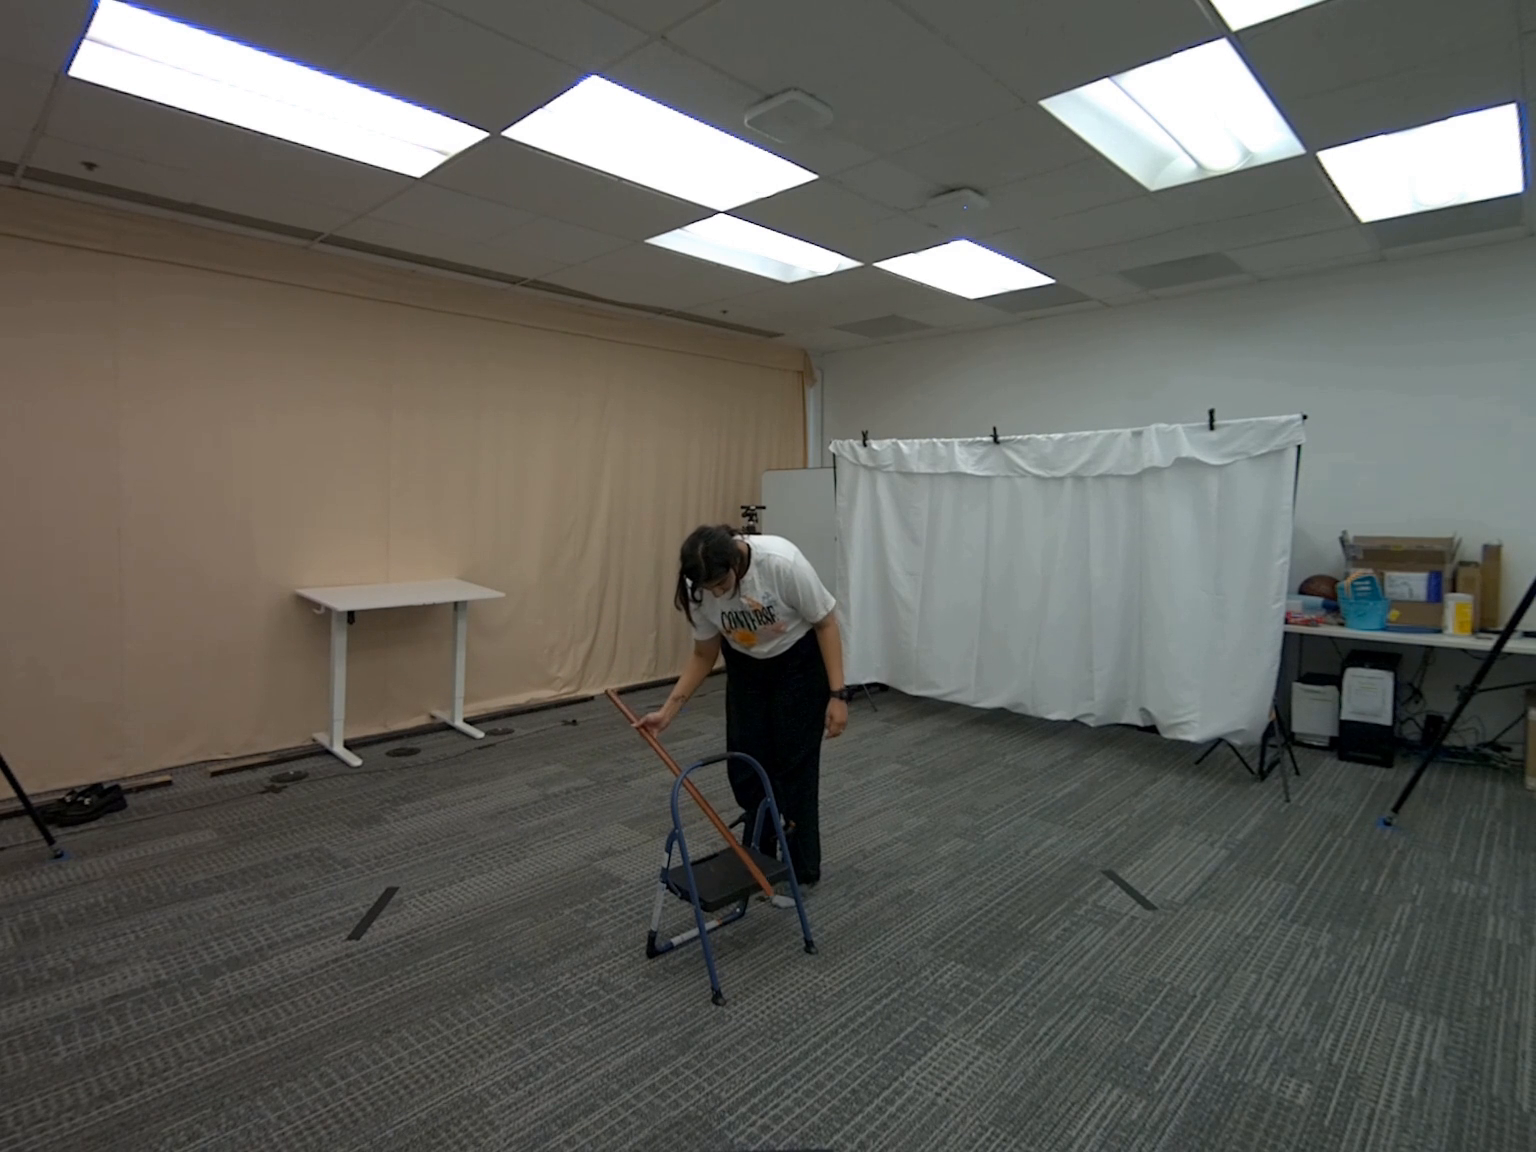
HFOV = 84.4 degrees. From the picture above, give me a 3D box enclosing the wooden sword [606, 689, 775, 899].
[{"bbox_3d":[-0.275,0.663,2.787,1.063,0.051,0.023,38,-3,42],"label":"wooden sword"}]
